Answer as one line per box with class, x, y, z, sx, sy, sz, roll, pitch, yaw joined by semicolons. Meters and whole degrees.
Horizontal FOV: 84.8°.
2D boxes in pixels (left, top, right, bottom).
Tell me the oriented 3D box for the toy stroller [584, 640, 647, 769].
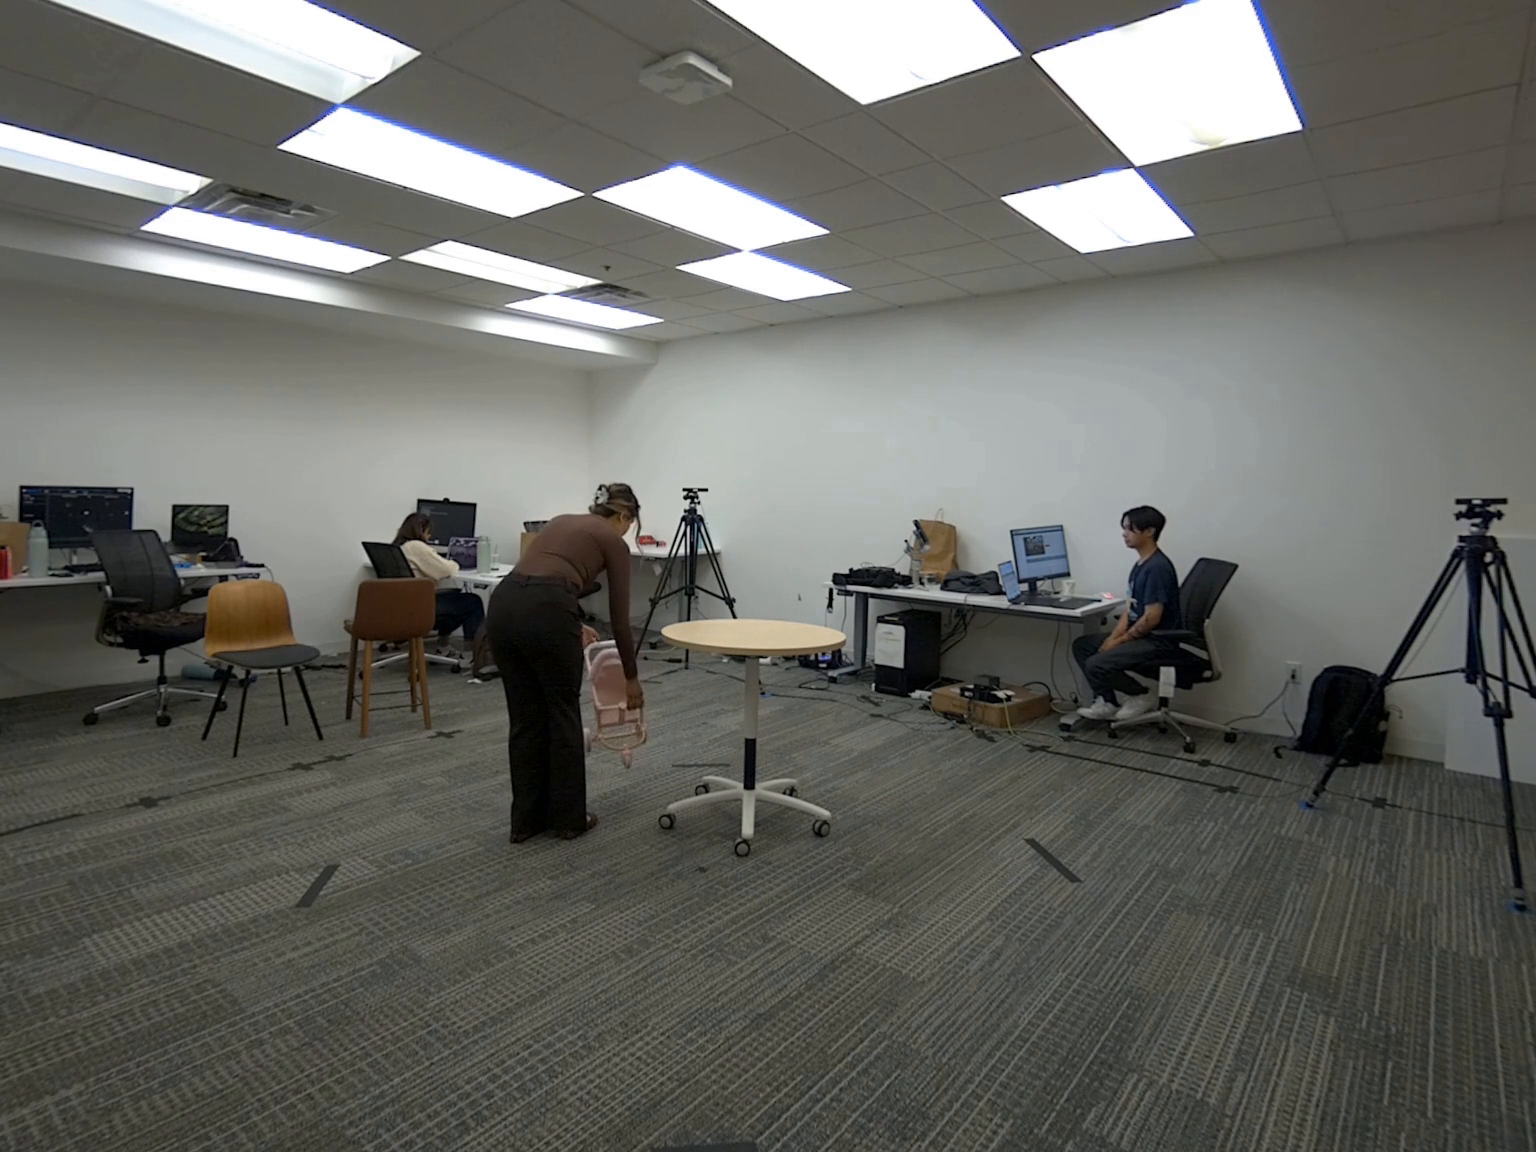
toy stroller;-0.681;0.551;3.726;0.277;0.538;0.345;-4;-4;-16
